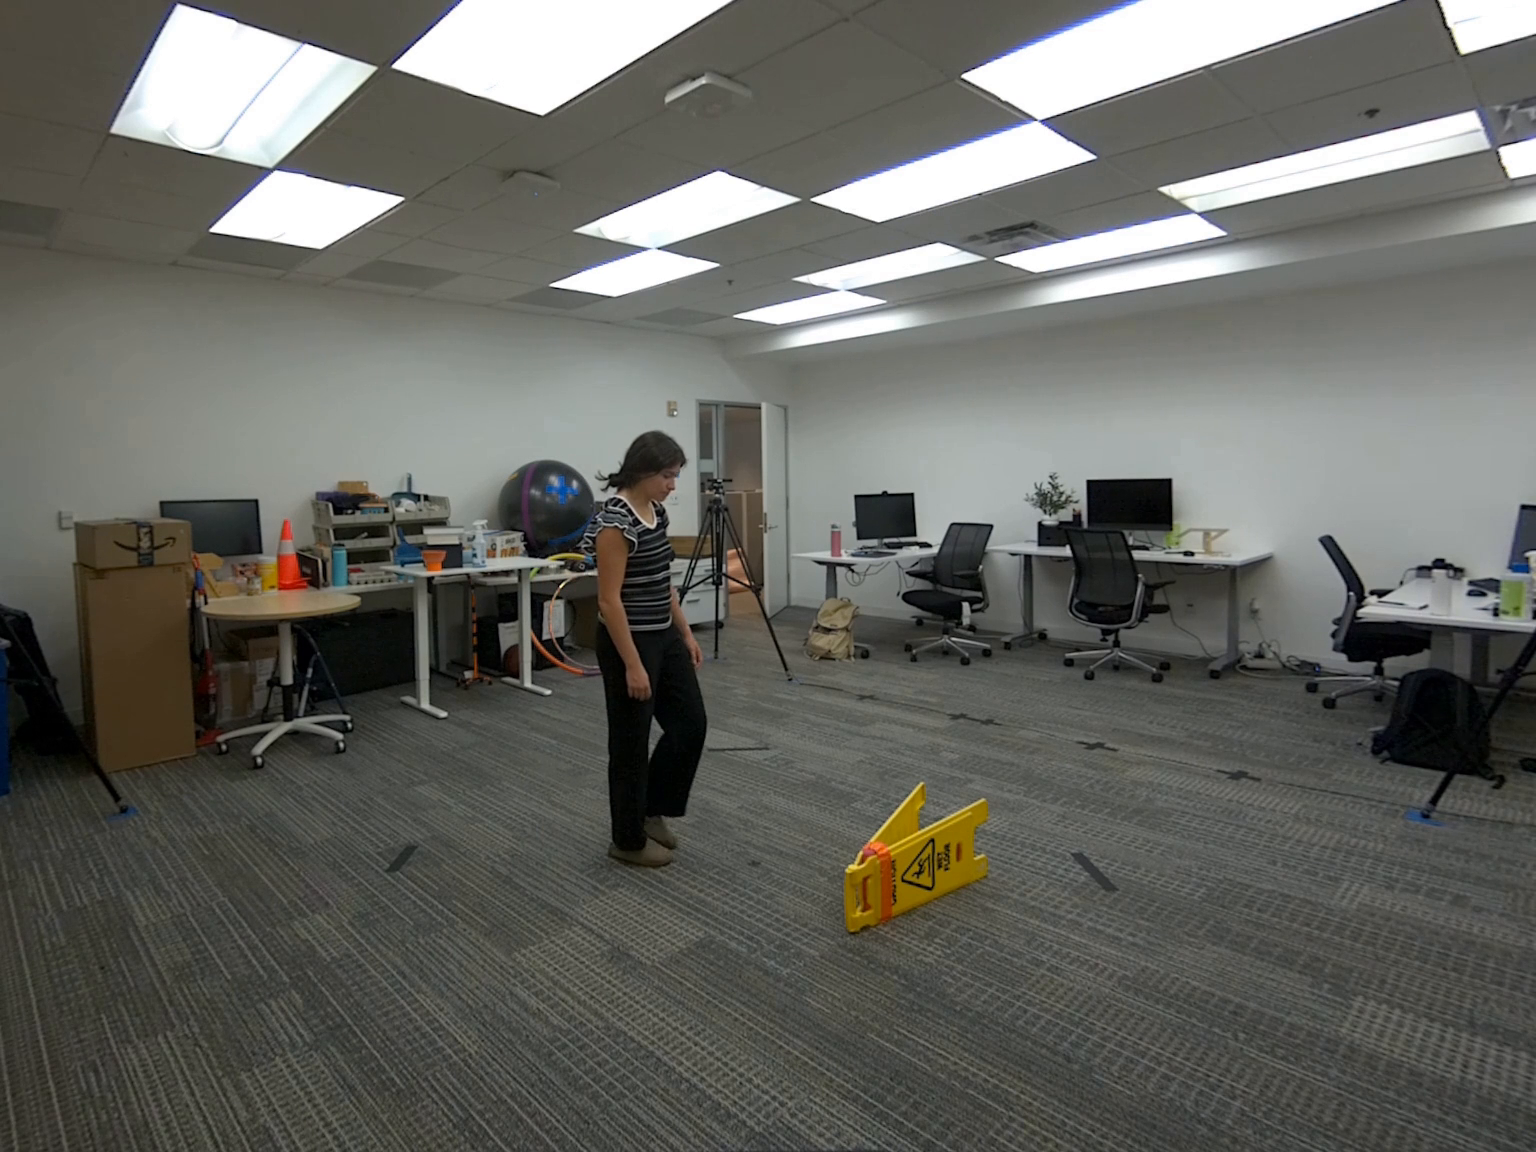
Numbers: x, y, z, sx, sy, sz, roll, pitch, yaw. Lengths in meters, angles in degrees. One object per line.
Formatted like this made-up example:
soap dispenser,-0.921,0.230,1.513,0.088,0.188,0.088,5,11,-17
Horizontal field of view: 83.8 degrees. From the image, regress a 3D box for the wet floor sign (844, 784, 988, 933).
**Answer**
wet floor sign,0.460,0.945,2.819,0.299,0.280,0.631,5,11,41
